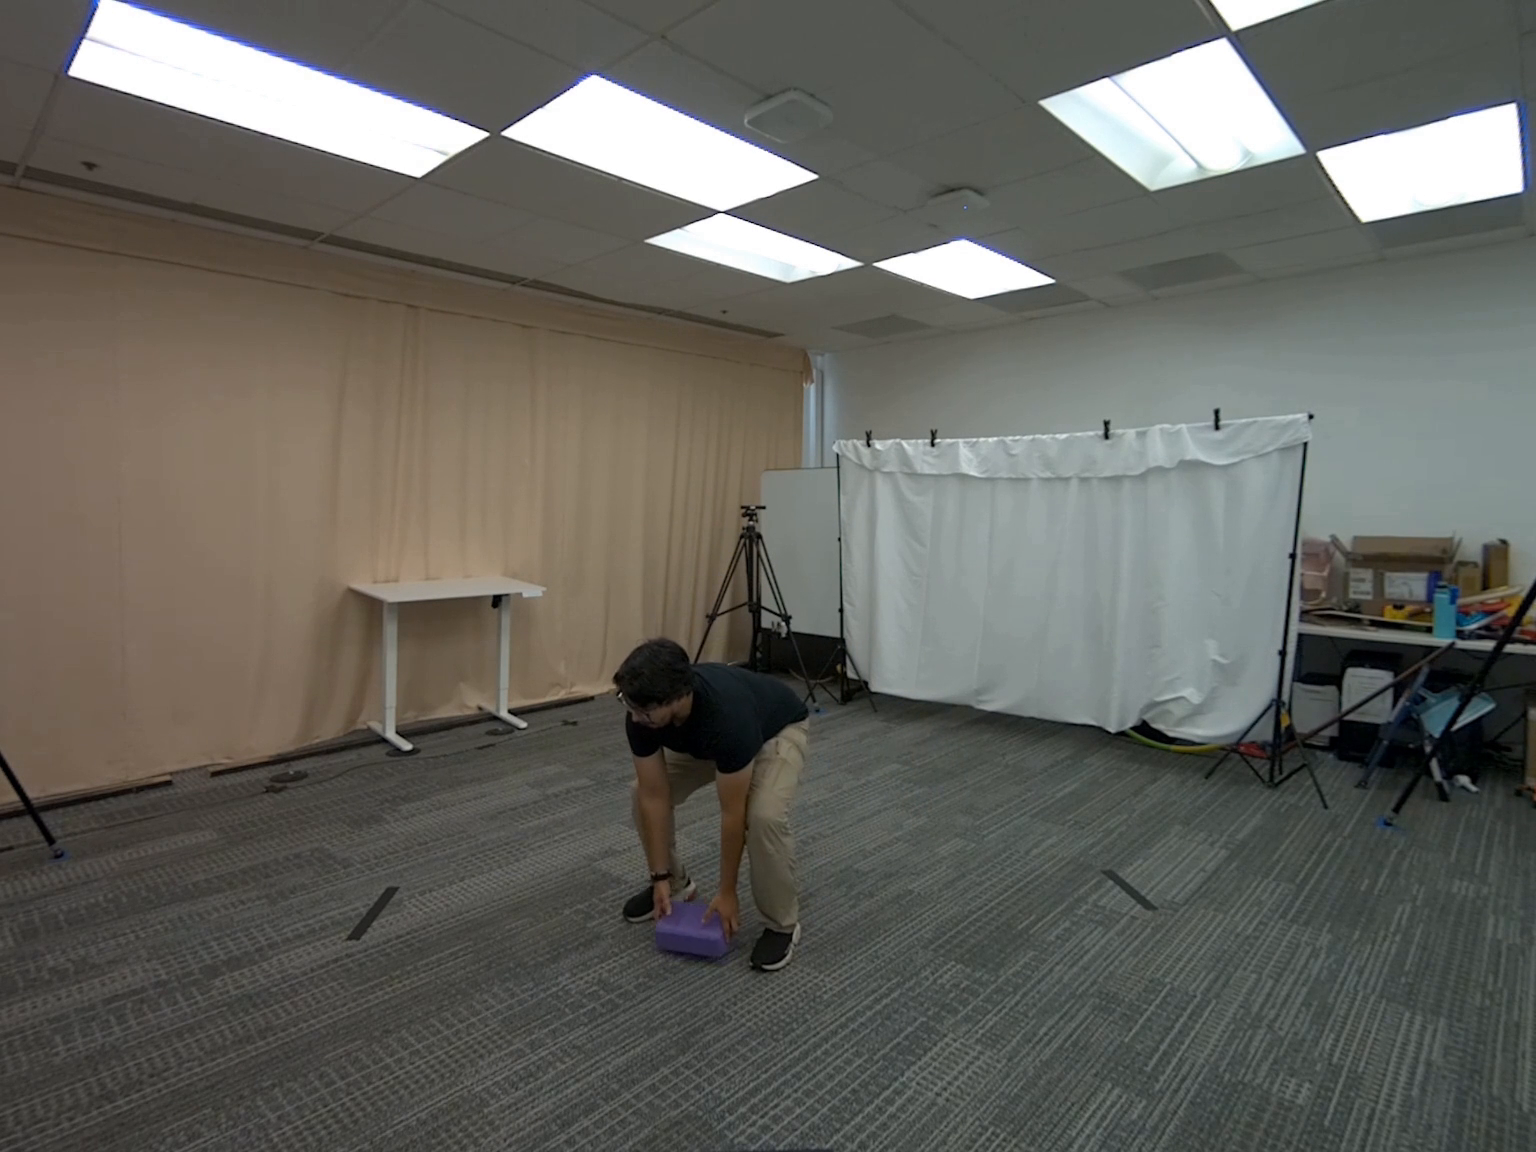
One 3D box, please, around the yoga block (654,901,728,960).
[{"bbox_3d":[-0.228,1.094,2.631,0.235,0.076,0.146,-2,13,25],"label":"yoga block"}]
